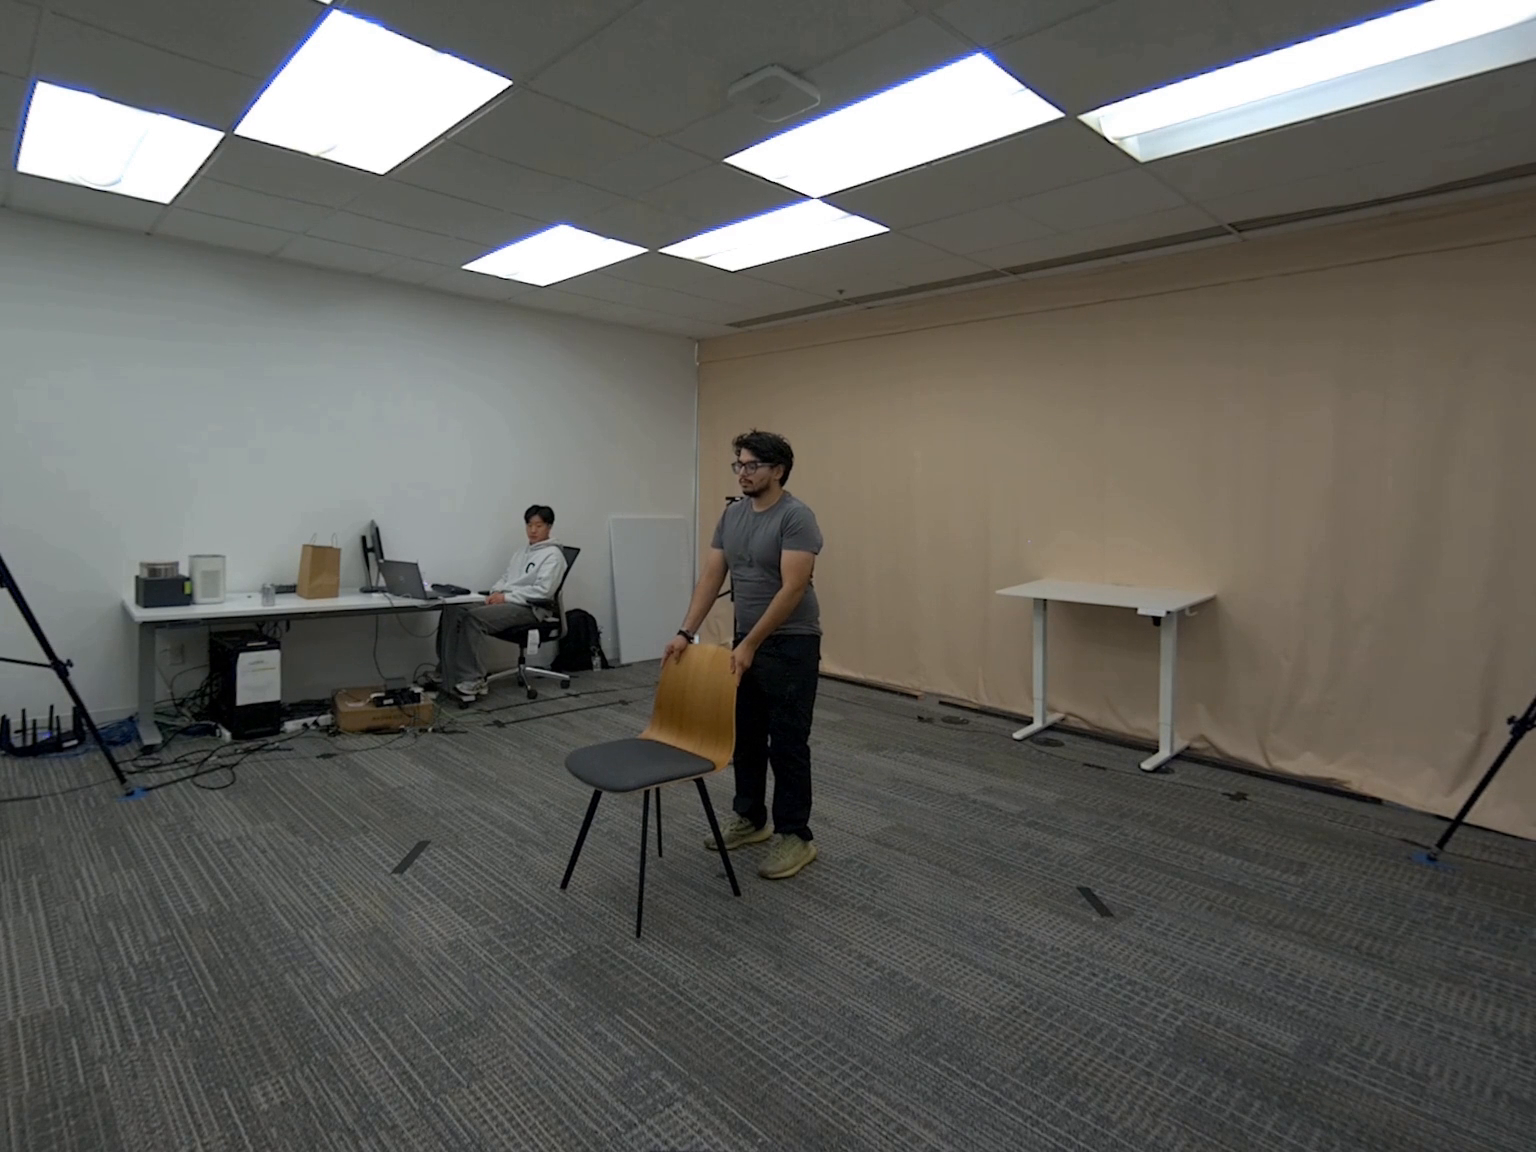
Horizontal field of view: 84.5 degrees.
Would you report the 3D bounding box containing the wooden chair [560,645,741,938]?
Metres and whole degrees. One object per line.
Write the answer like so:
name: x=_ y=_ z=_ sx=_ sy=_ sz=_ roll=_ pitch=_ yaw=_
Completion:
wooden chair: x=-0.407 y=0.684 z=2.919 sx=0.509 sy=0.878 sz=0.490 roll=6 pitch=-1 yaw=-45
